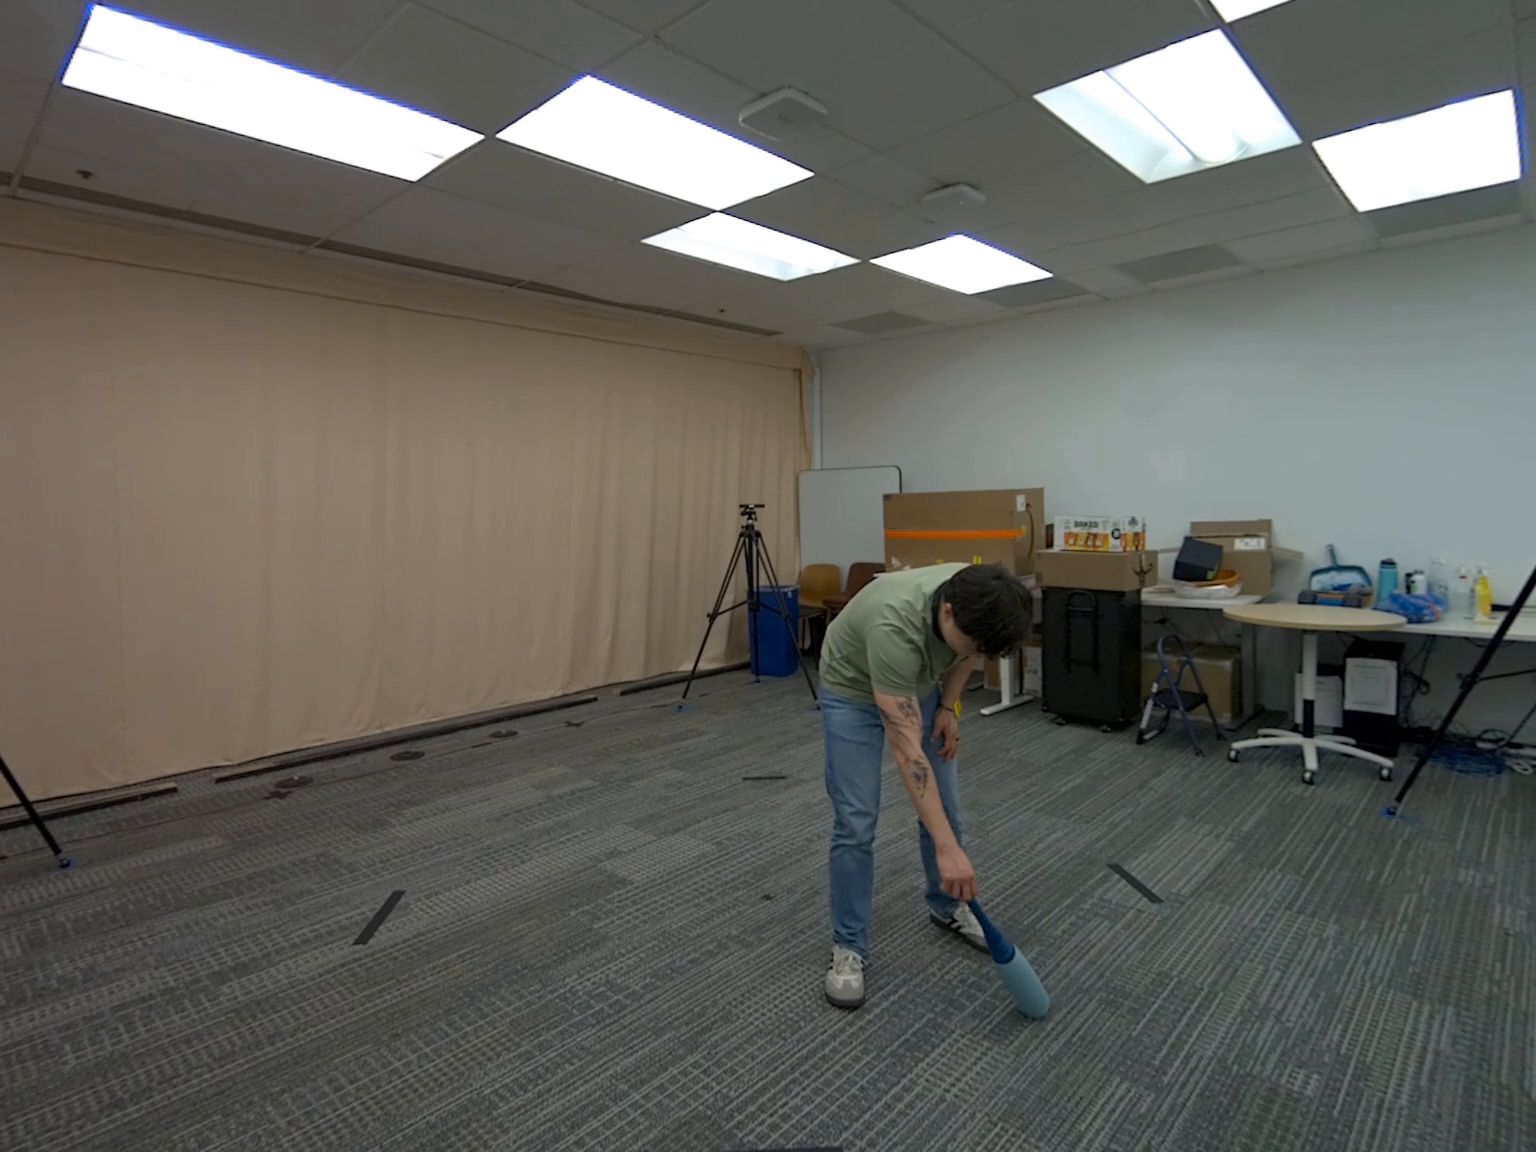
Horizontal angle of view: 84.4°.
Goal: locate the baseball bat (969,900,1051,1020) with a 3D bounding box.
[{"bbox_3d":[0.607,0.965,2.185,0.090,0.529,0.090,-26,26,13],"label":"baseball bat"}]
